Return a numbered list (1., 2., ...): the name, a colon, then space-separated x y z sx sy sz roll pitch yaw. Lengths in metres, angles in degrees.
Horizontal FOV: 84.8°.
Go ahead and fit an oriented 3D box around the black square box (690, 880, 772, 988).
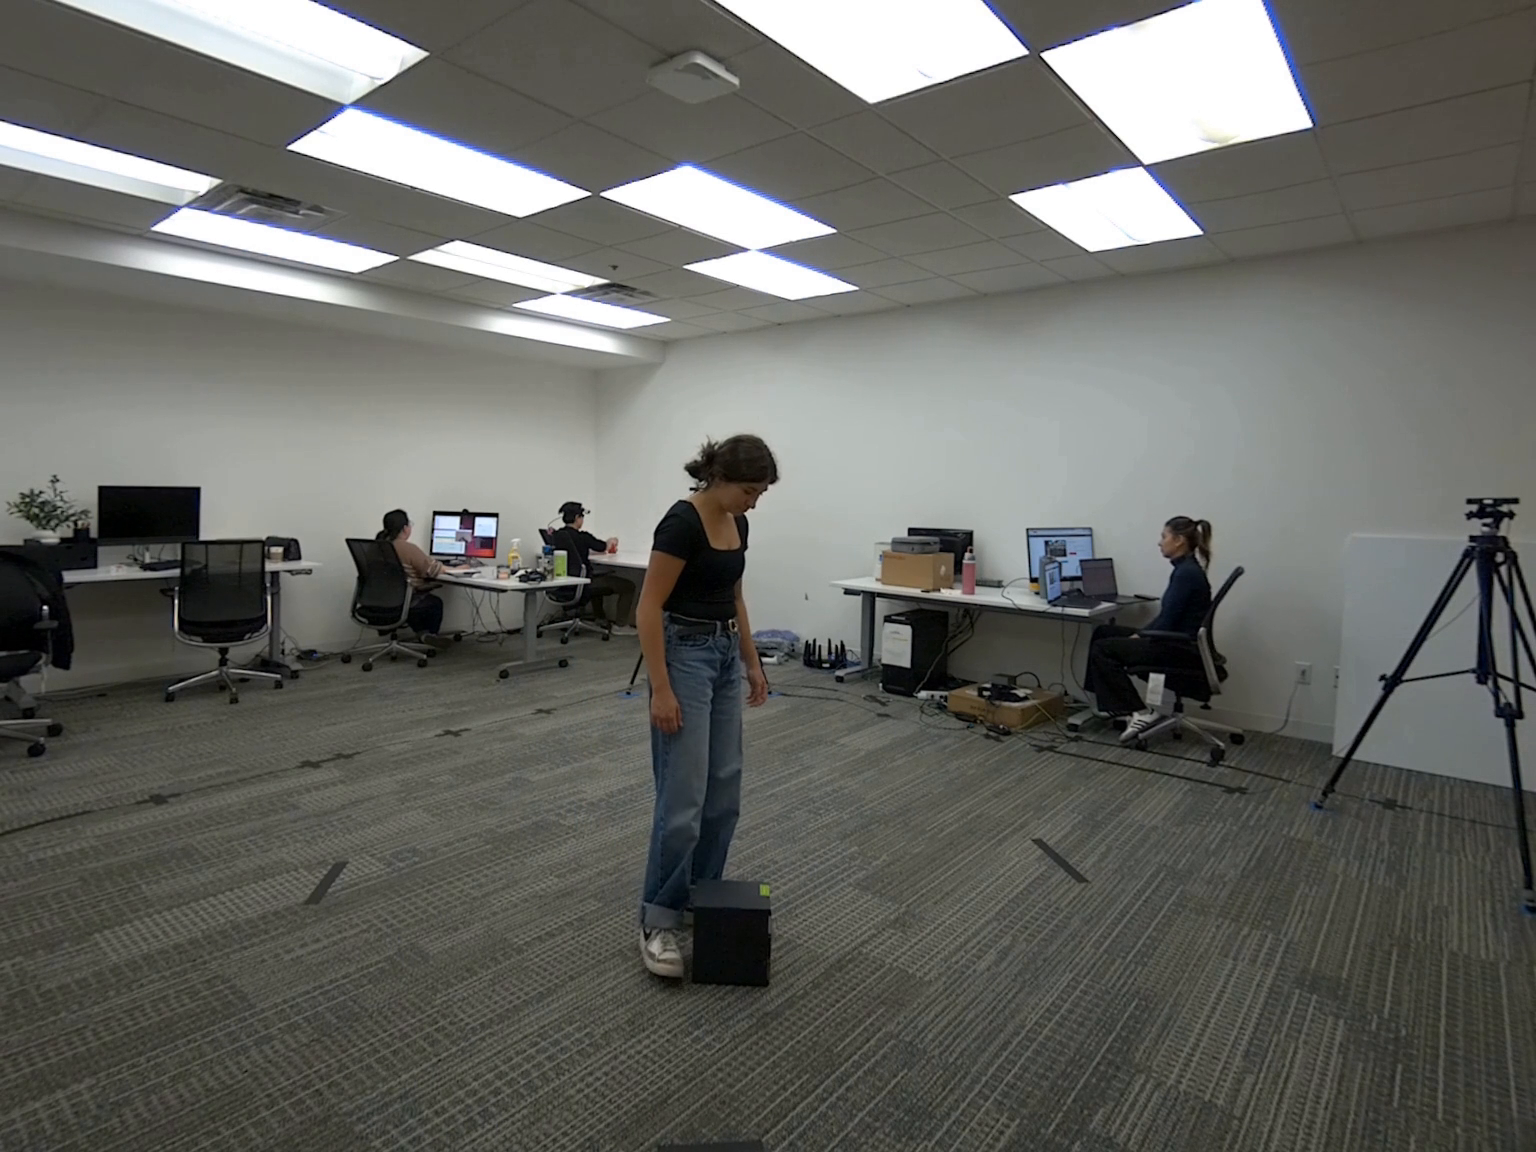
1. black square box: -0.110 1.012 2.443 0.217 0.227 0.156 2 4 1
